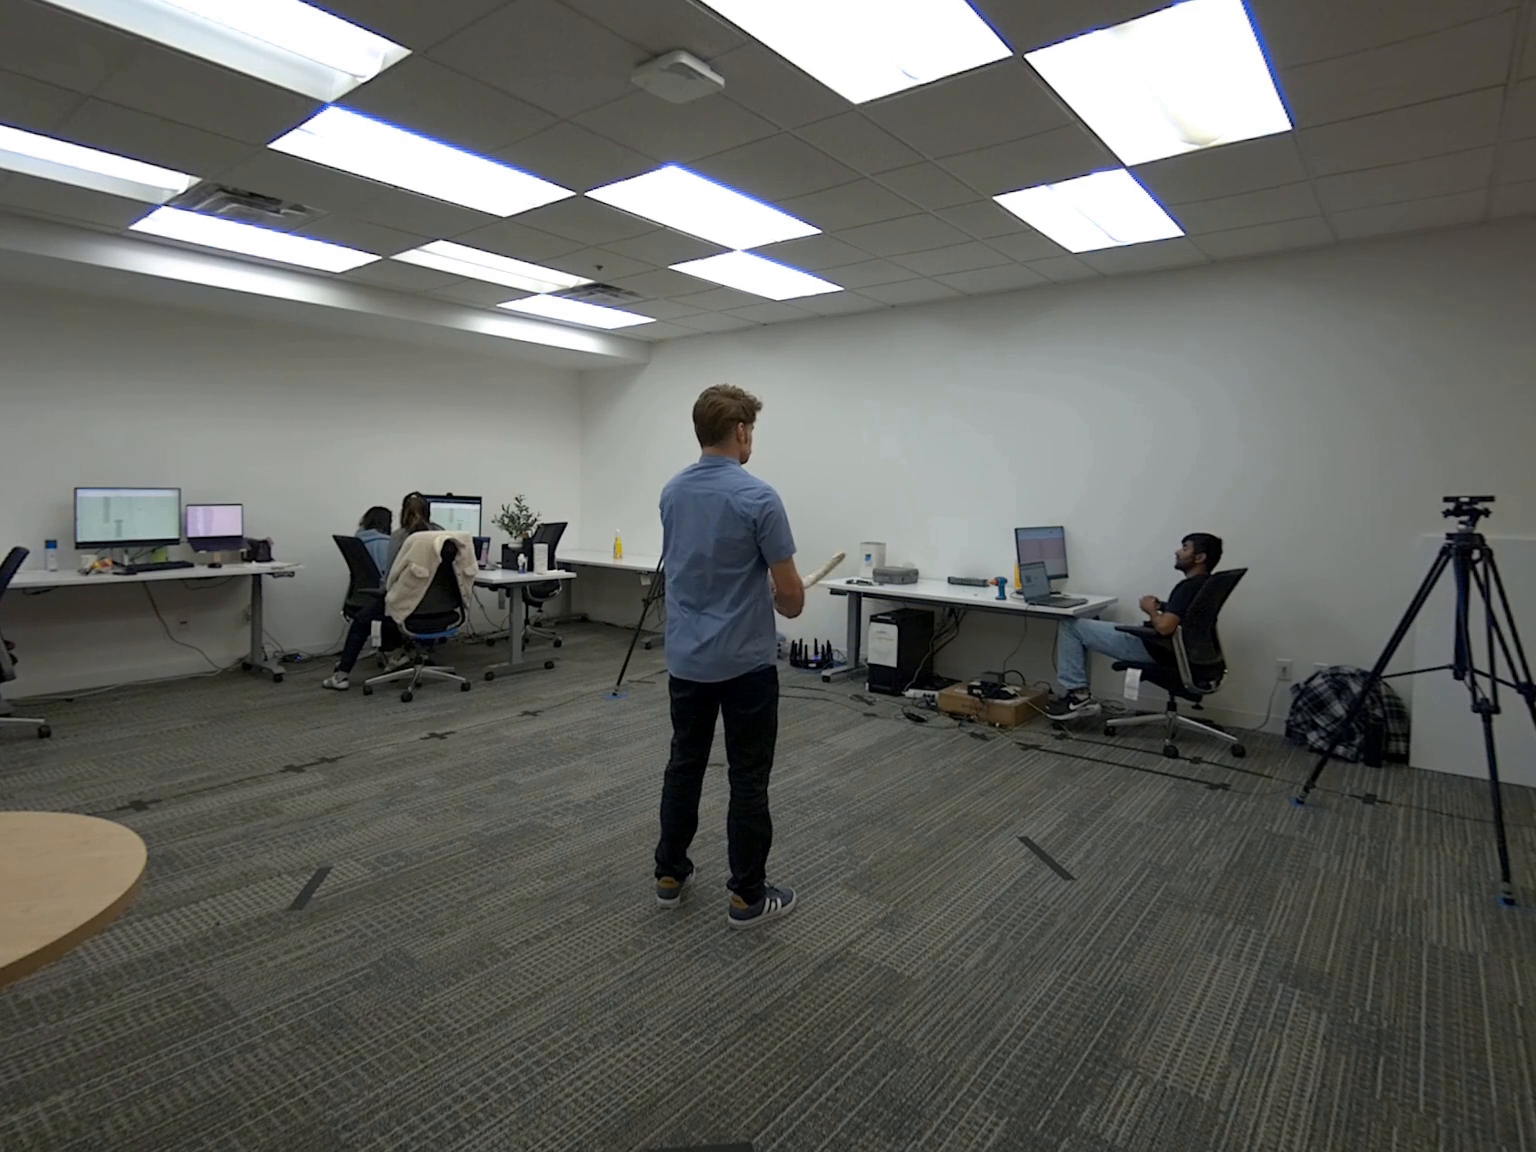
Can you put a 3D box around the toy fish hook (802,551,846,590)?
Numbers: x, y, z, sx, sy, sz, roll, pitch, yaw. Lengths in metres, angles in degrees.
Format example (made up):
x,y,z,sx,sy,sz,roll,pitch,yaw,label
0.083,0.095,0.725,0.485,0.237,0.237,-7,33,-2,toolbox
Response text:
x,y,z,sx,sy,sz,roll,pitch,yaw,label
0.139,-0.001,3.118,0.224,0.049,0.500,-47,-8,28,toy fish hook
